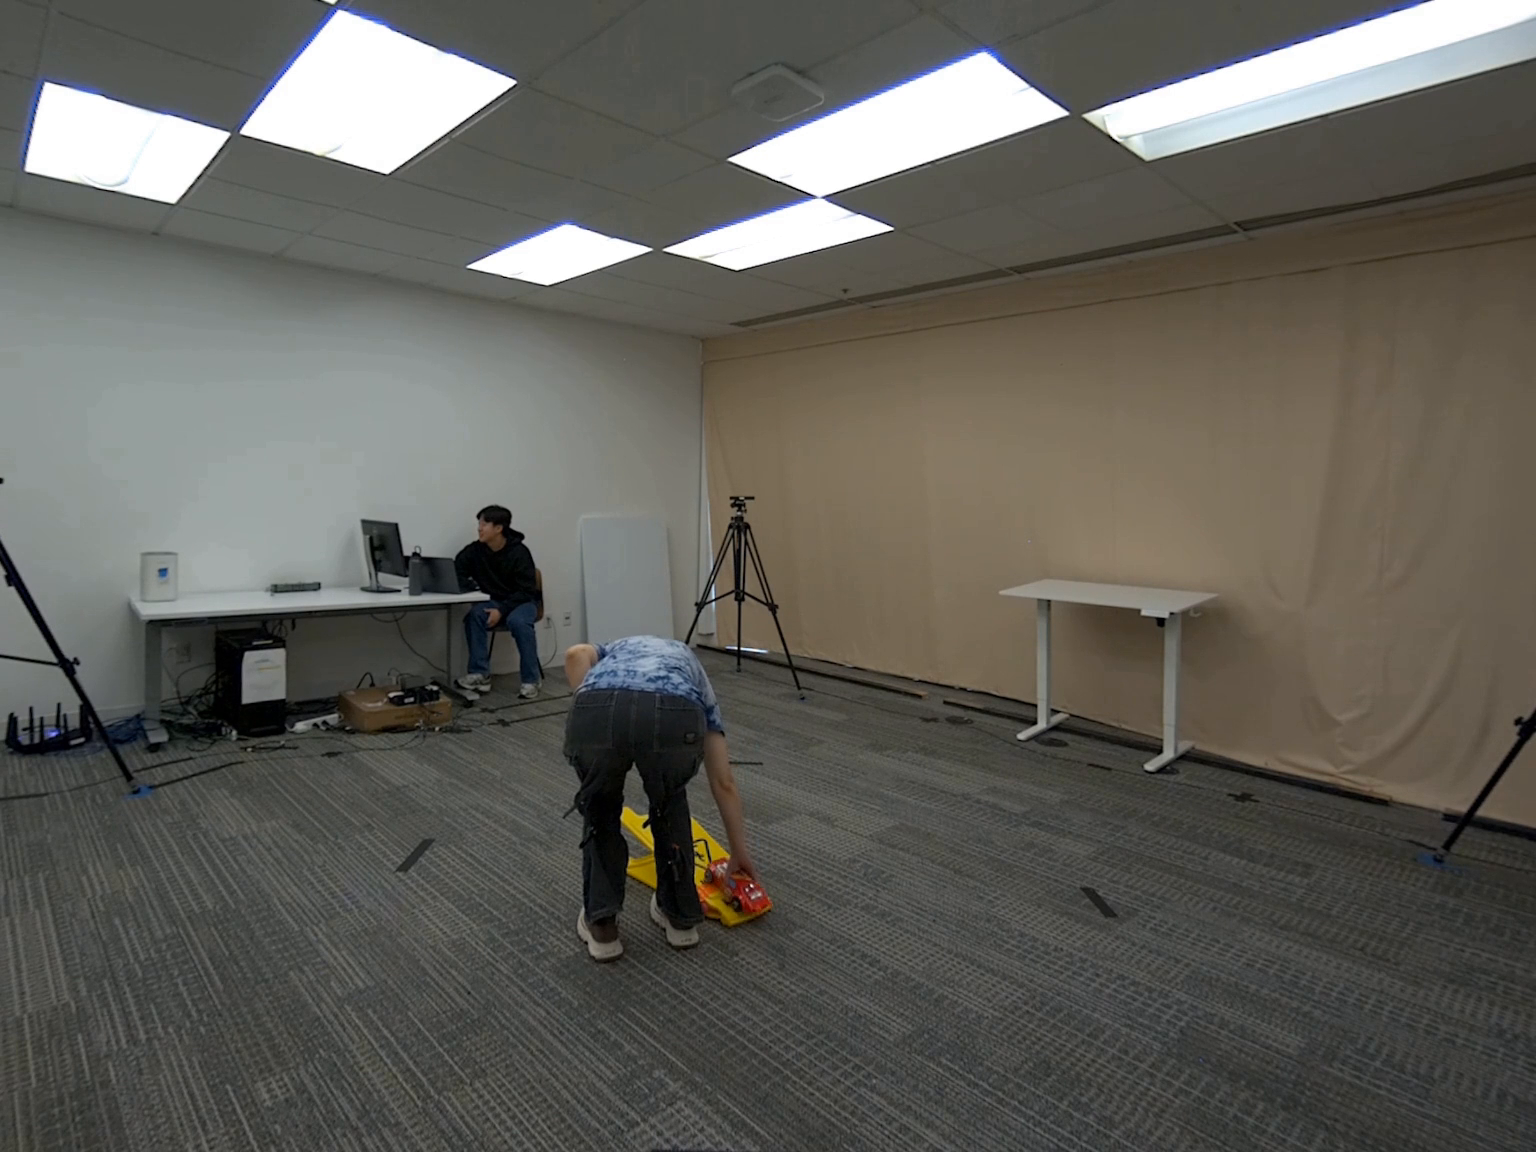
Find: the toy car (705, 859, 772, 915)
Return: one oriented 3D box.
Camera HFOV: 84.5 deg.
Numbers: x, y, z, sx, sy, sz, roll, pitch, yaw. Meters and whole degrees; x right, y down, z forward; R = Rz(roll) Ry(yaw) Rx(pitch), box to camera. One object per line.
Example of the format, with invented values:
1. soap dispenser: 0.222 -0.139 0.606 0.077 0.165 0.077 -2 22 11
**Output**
1. toy car: -0.109 1.050 2.815 0.127 0.083 0.262 -1 15 -43
